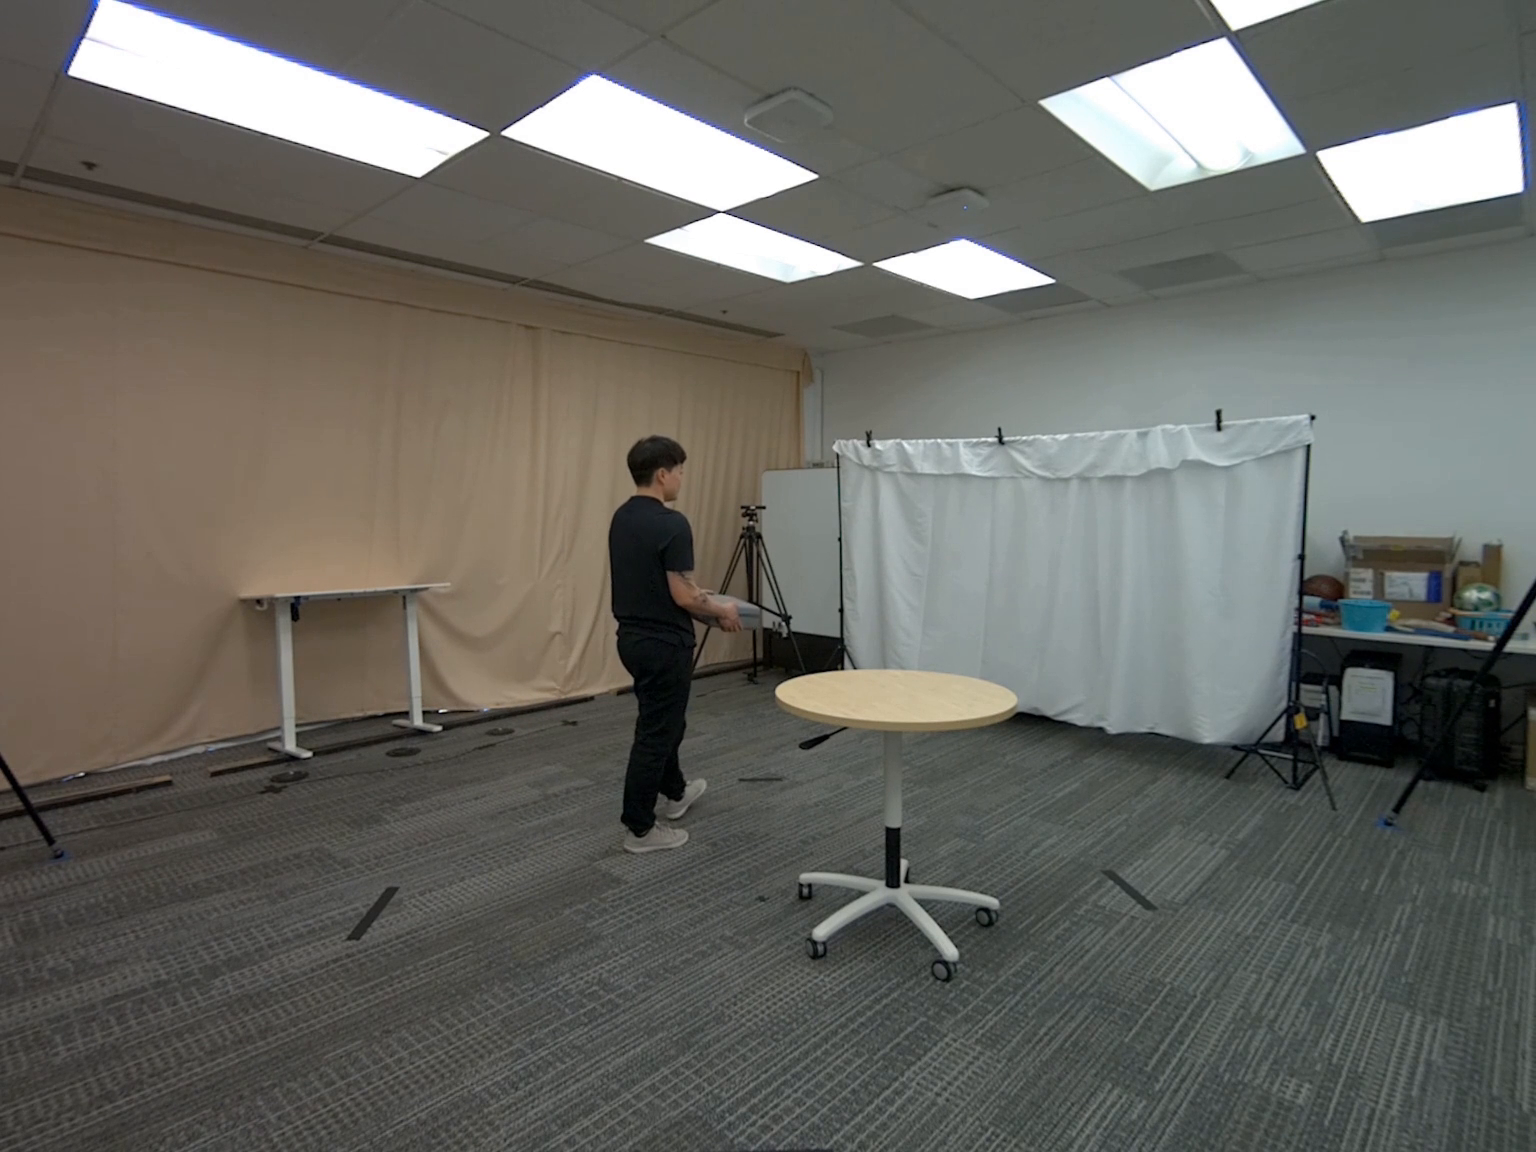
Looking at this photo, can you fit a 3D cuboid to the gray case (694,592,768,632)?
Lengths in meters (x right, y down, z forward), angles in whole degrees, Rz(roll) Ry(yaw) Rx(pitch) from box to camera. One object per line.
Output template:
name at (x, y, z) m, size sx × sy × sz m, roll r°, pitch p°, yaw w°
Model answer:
gray case at (-0.192, 0.147, 3.574) m, size 0.252 × 0.104 × 0.266 m, roll 4°, pitch 9°, yaw -36°
